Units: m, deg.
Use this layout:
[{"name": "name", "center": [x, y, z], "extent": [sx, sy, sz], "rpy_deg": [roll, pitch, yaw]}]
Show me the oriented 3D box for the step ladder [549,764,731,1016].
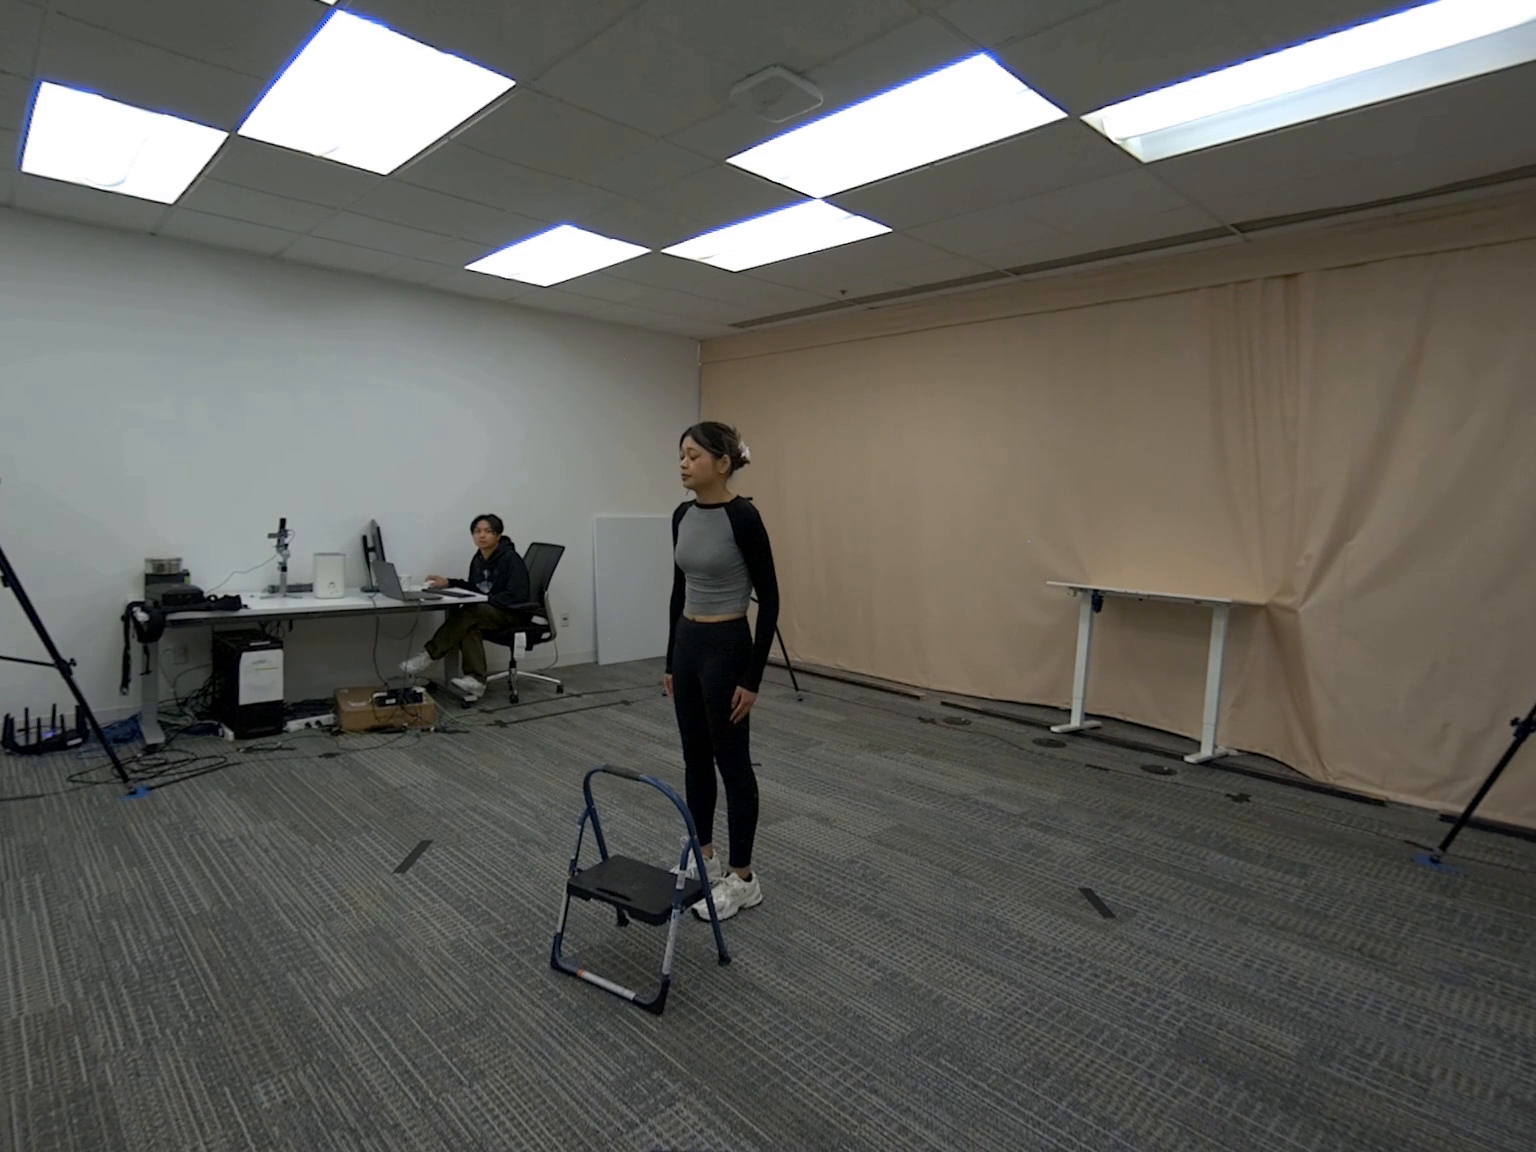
[{"name": "step ladder", "center": [-0.382, 0.856, 2.488], "extent": [0.440, 0.605, 0.342], "rpy_deg": [3, 4, 32]}]
